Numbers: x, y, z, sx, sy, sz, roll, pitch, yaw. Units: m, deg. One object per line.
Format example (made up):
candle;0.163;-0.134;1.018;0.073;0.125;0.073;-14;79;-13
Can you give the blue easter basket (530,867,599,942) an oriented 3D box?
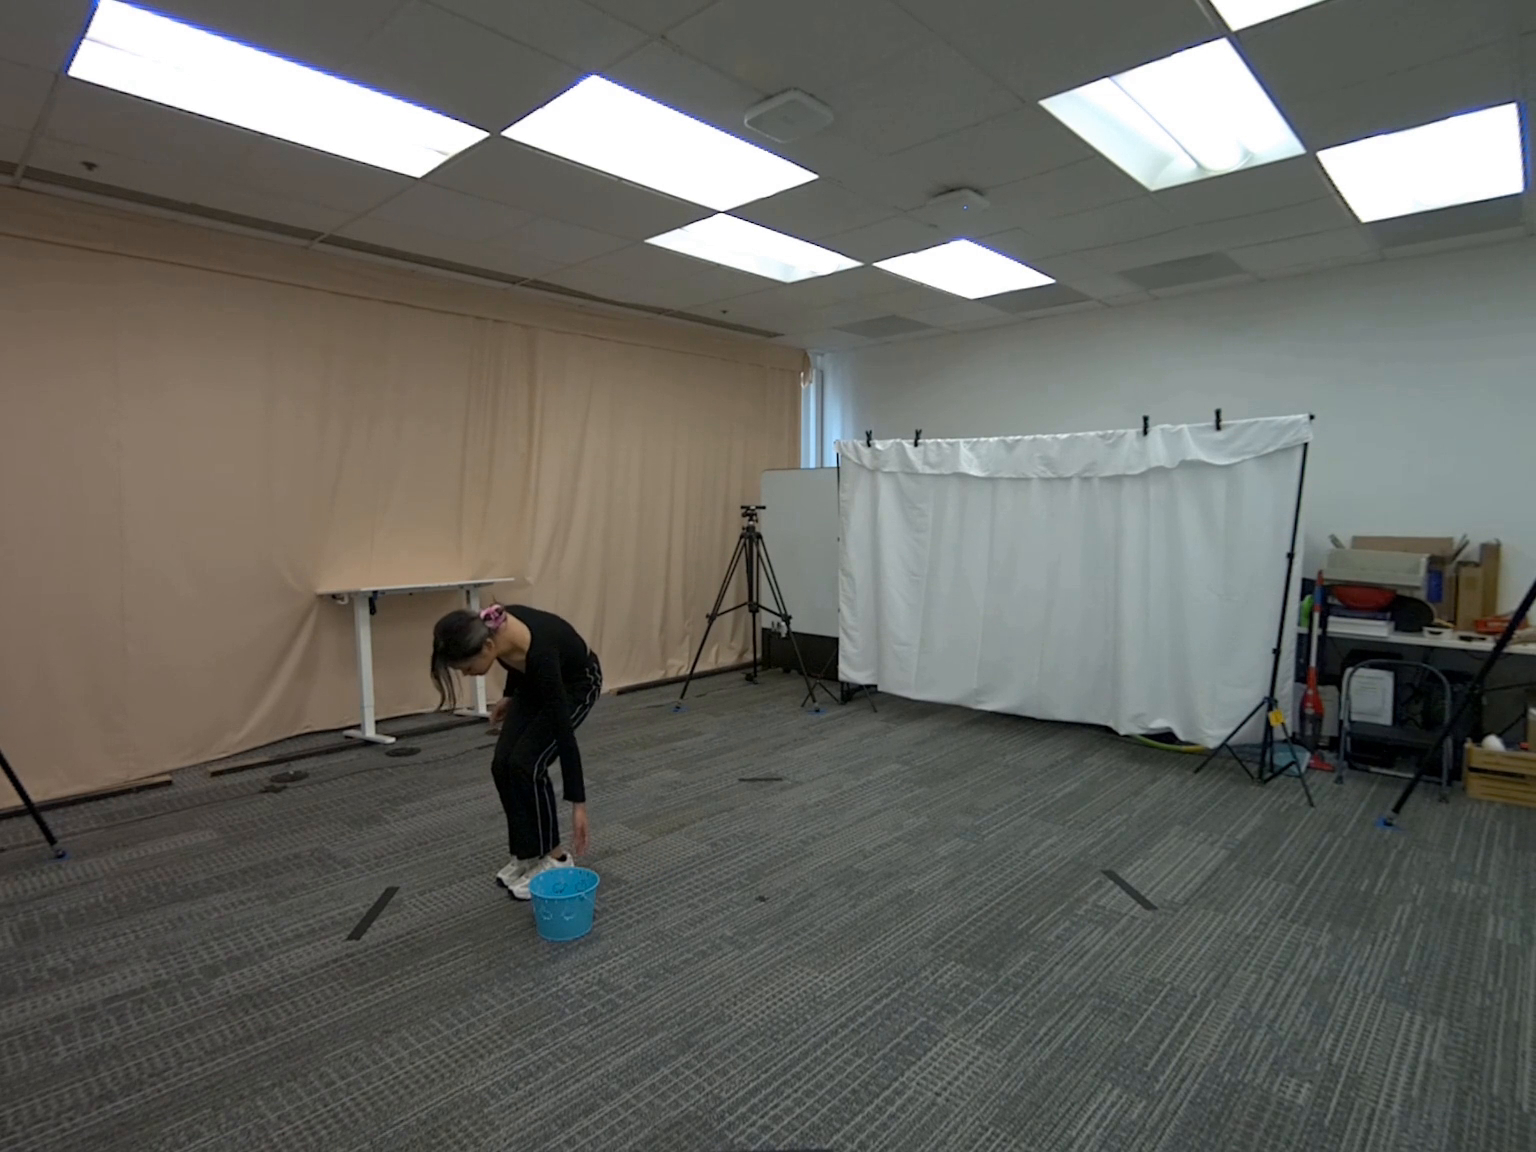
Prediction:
blue easter basket;-0.670;1.089;2.790;0.243;0.155;0.244;0;5;-2
